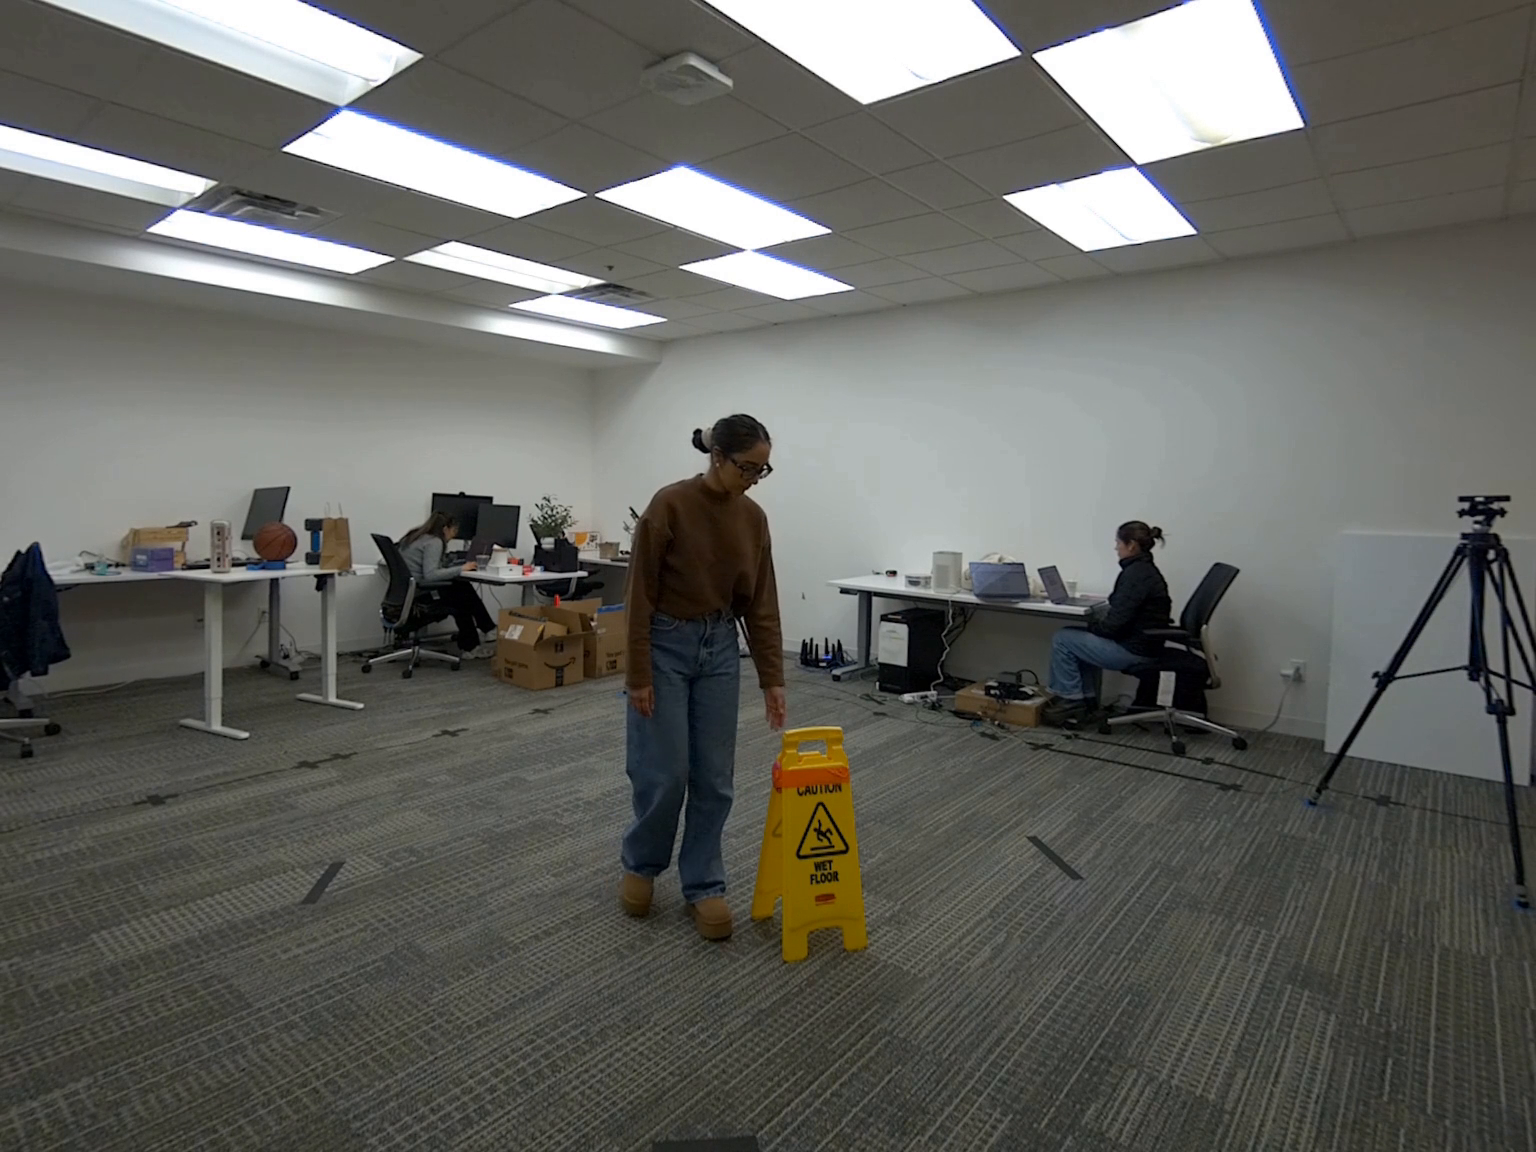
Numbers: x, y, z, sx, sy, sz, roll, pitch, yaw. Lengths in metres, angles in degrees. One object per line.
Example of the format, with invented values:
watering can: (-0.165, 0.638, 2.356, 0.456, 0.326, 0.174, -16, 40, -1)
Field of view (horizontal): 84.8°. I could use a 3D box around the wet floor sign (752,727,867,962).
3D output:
wet floor sign: (0.128, 0.794, 2.650, 0.276, 0.644, 0.297, 0, 4, -21)
